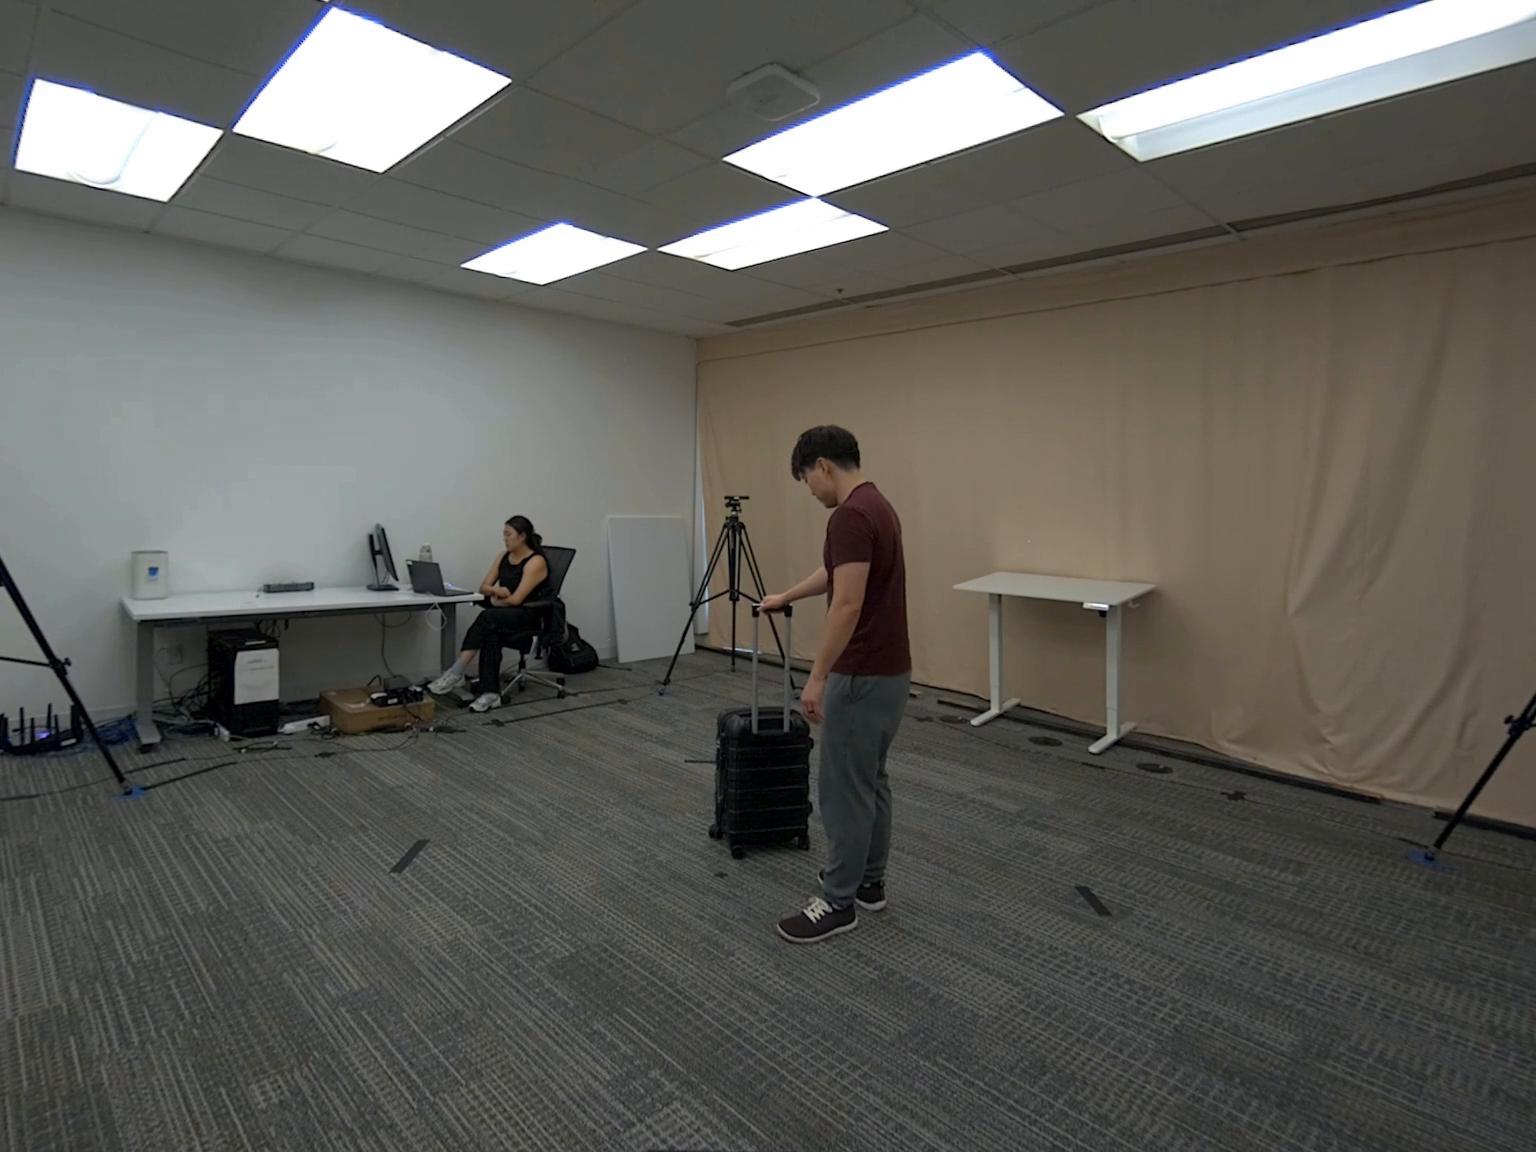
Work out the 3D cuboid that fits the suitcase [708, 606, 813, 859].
[{"bbox_3d":[-0.031,0.605,3.376,0.380,0.978,0.260,0,1,-14],"label":"suitcase"}]
